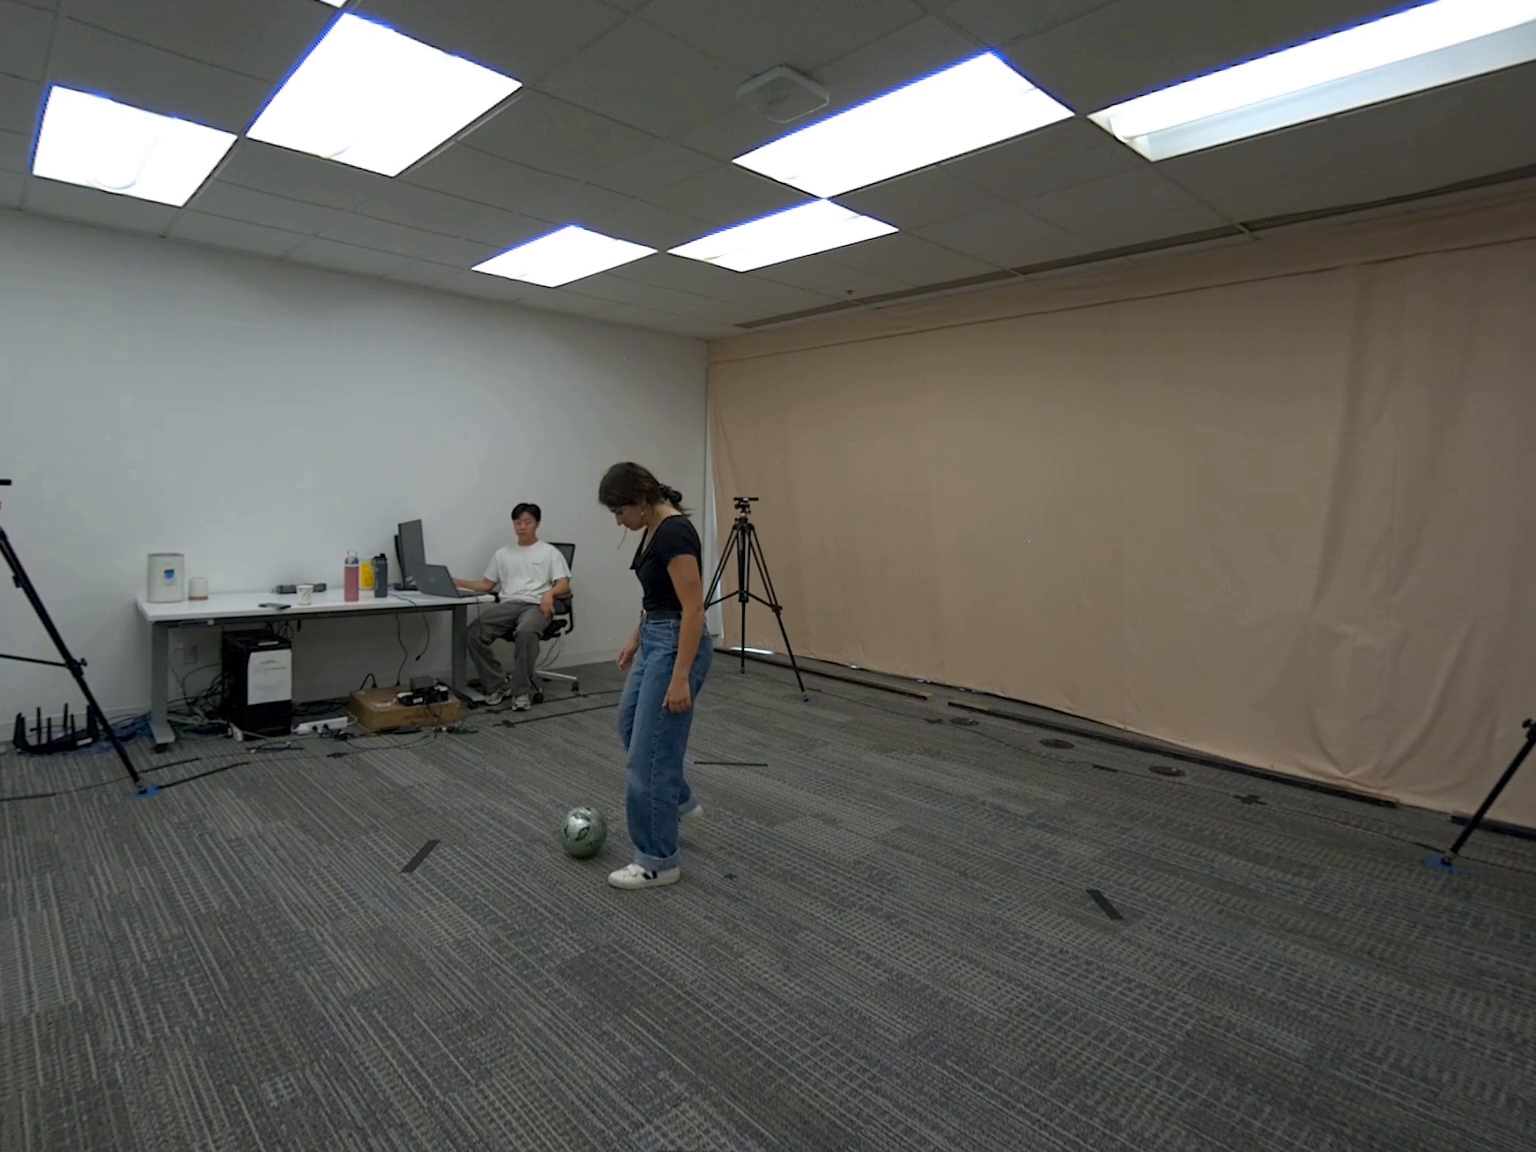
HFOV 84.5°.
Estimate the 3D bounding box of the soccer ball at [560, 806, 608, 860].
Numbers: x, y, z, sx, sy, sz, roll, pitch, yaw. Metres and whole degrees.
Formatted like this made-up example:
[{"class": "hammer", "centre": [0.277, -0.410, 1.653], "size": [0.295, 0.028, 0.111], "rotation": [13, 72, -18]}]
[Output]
[{"class": "soccer ball", "centre": [-0.718, 0.993, 3.244], "size": [0.187, 0.187, 0.188], "rotation": [1, 4, -1]}]
